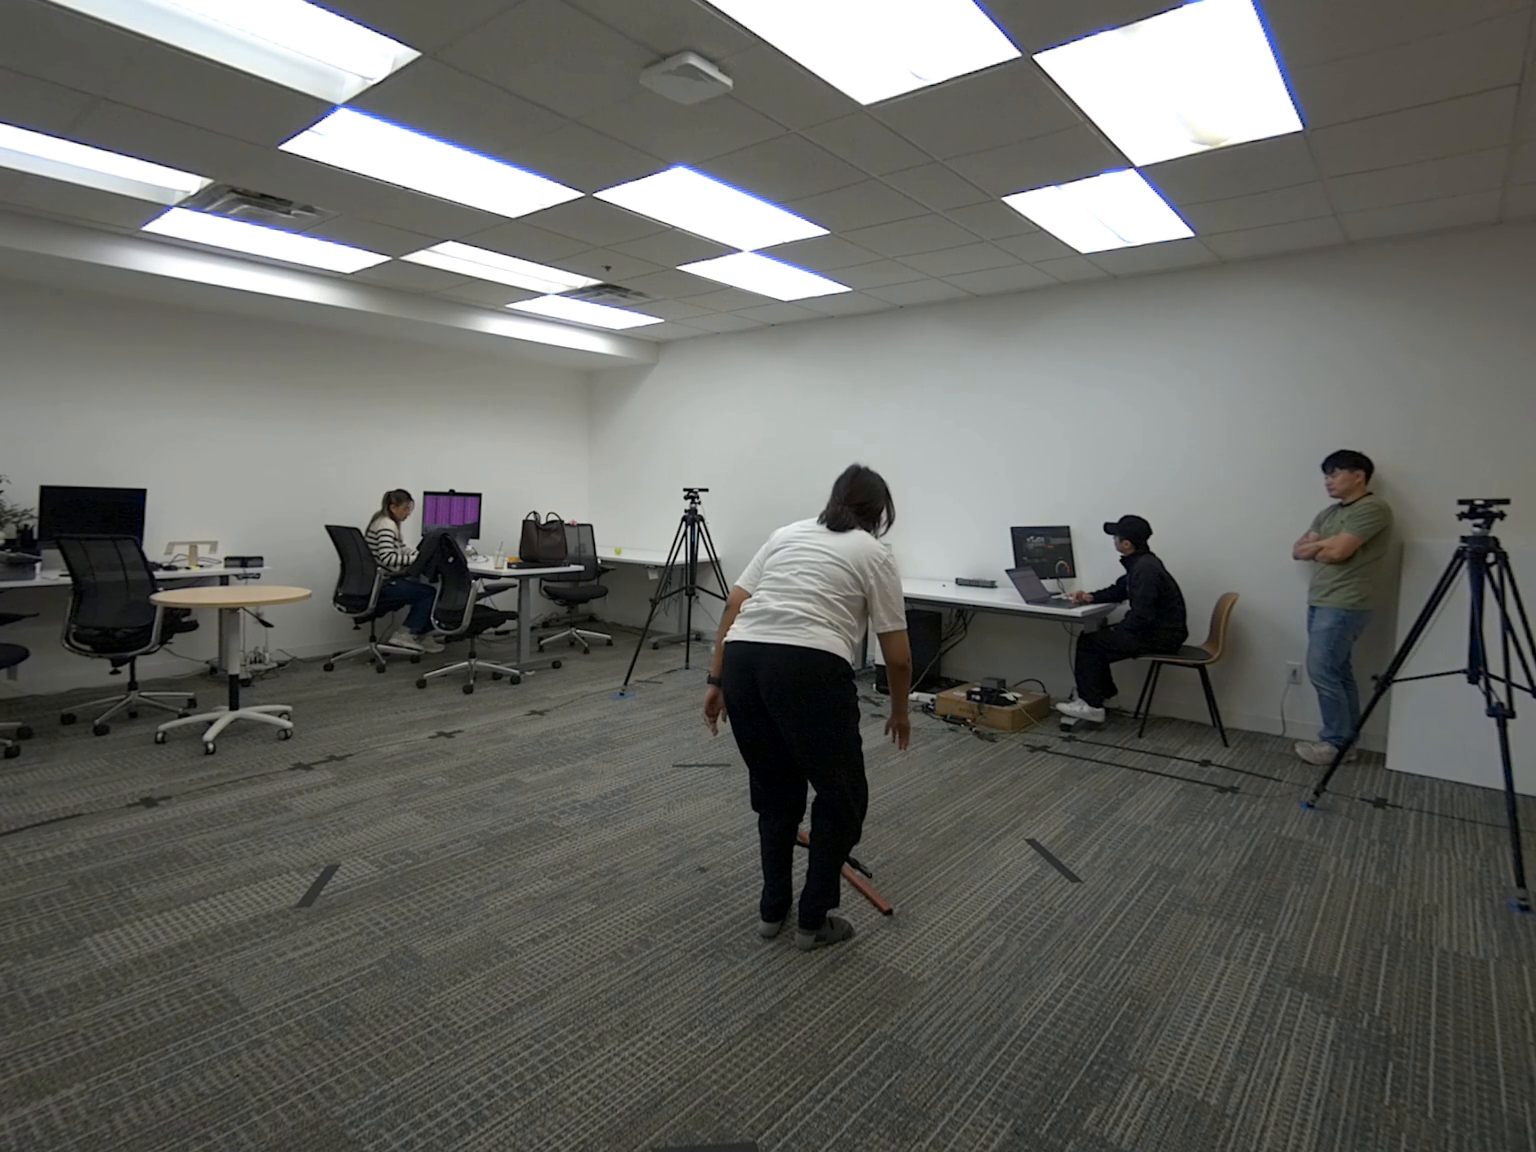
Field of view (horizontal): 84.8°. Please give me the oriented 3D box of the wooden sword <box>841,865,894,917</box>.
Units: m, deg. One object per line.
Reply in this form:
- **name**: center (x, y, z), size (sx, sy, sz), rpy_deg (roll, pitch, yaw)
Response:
- **wooden sword**: center (0.184, 1.035, 3.275), size (0.051, 0.023, 1.052), rpy_deg (-31, 18, -18)
